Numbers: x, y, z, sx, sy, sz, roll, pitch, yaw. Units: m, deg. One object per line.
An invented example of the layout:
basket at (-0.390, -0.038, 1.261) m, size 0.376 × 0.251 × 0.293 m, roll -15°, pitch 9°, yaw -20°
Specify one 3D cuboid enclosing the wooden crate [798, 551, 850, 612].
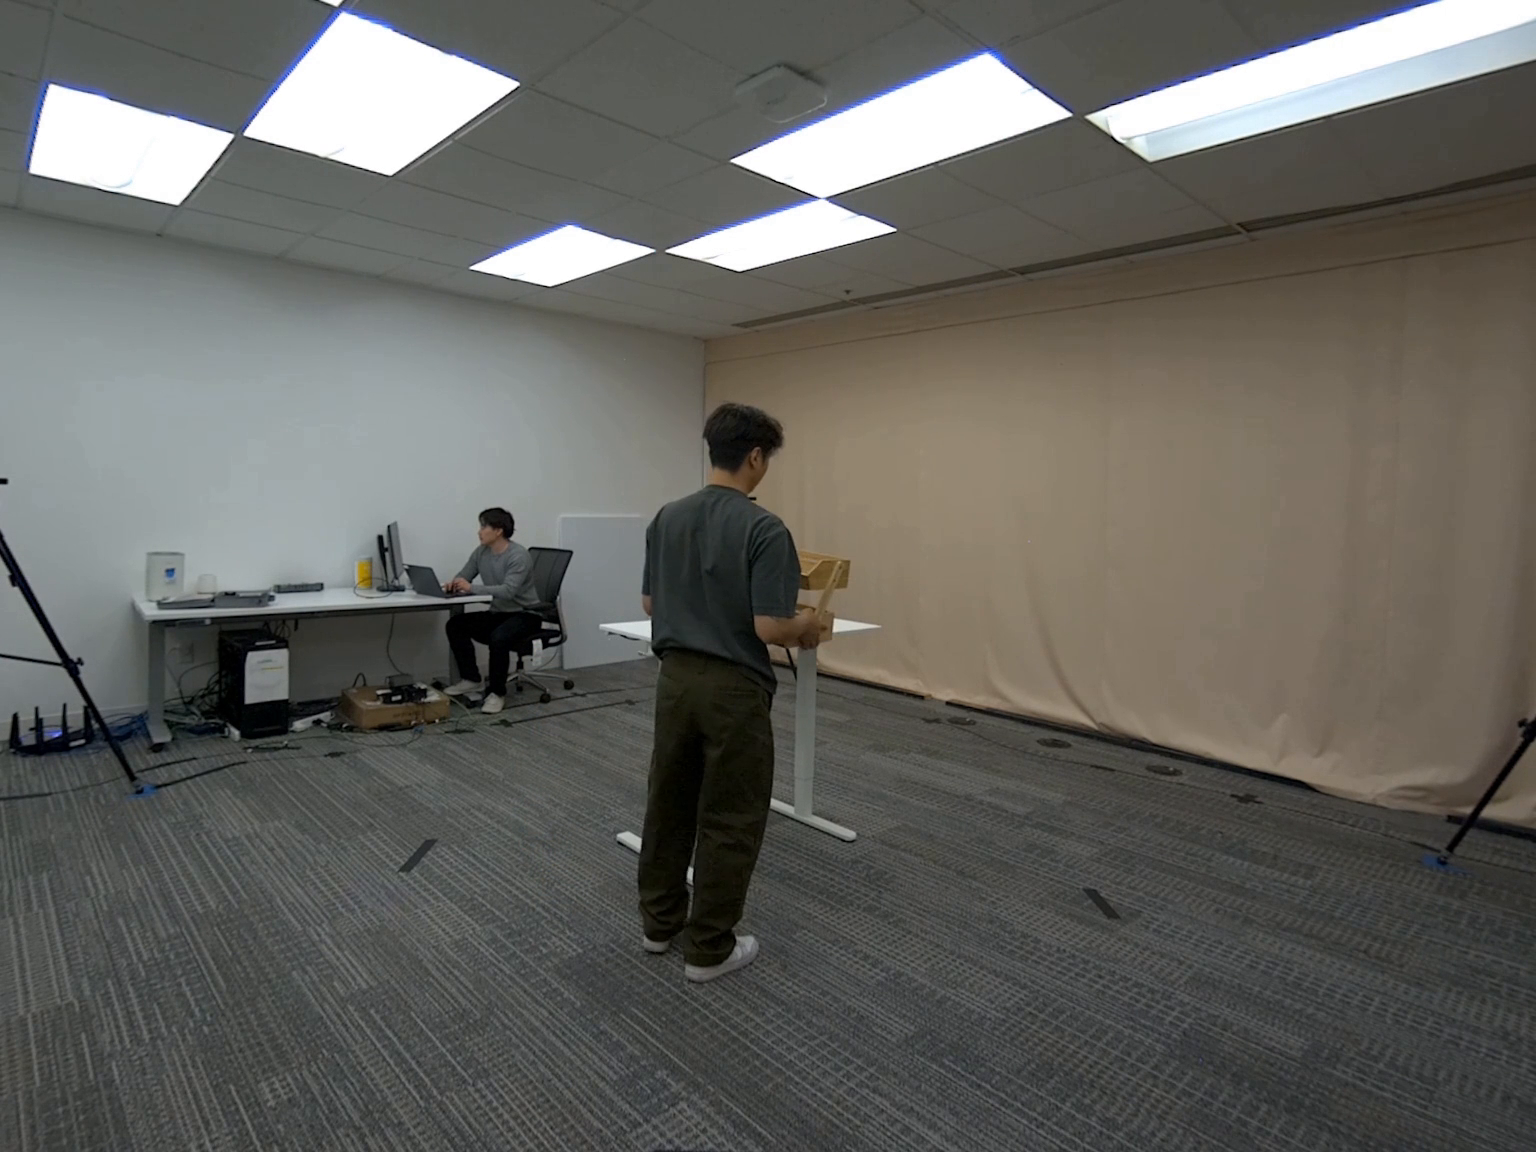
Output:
wooden crate at (0.034, 0.055, 2.673) m, size 0.333 × 0.272 × 0.295 m, roll 13°, pitch 9°, yaw 41°
